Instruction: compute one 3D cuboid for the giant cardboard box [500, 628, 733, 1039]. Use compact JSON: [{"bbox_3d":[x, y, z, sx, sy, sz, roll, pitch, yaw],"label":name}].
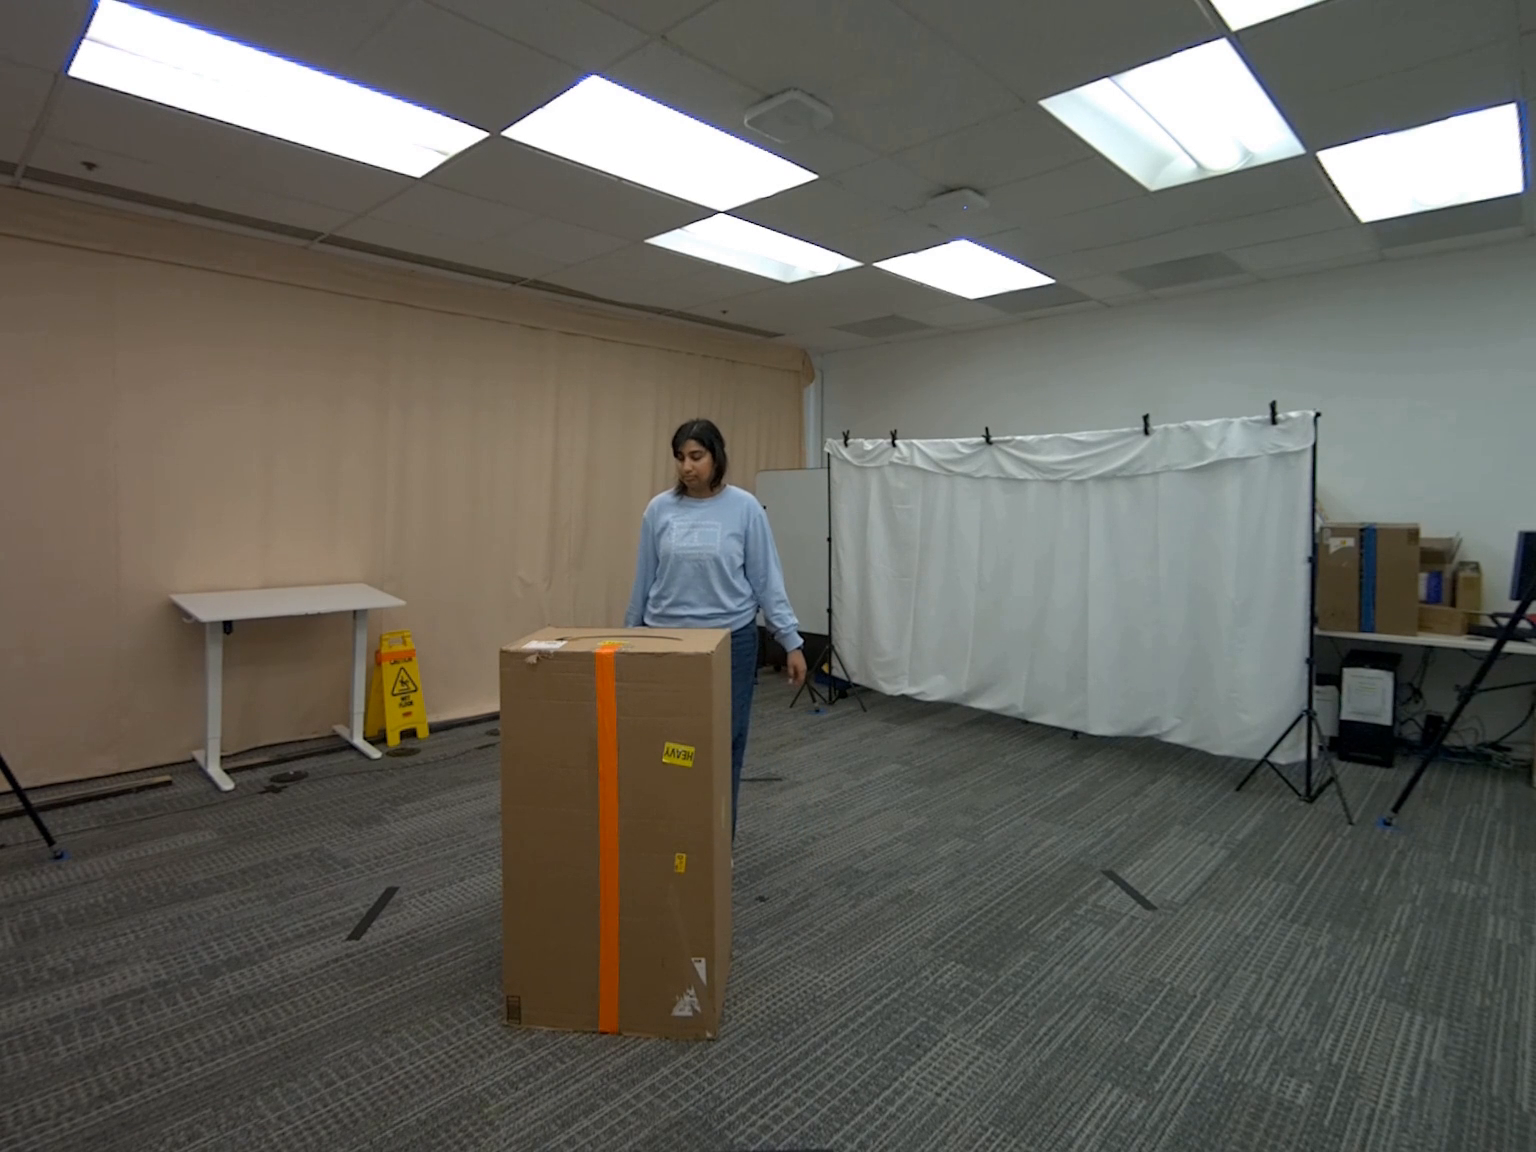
[{"bbox_3d":[-0.411,0.682,2.407,0.582,1.024,0.424,0,3,6],"label":"giant cardboard box"}]
